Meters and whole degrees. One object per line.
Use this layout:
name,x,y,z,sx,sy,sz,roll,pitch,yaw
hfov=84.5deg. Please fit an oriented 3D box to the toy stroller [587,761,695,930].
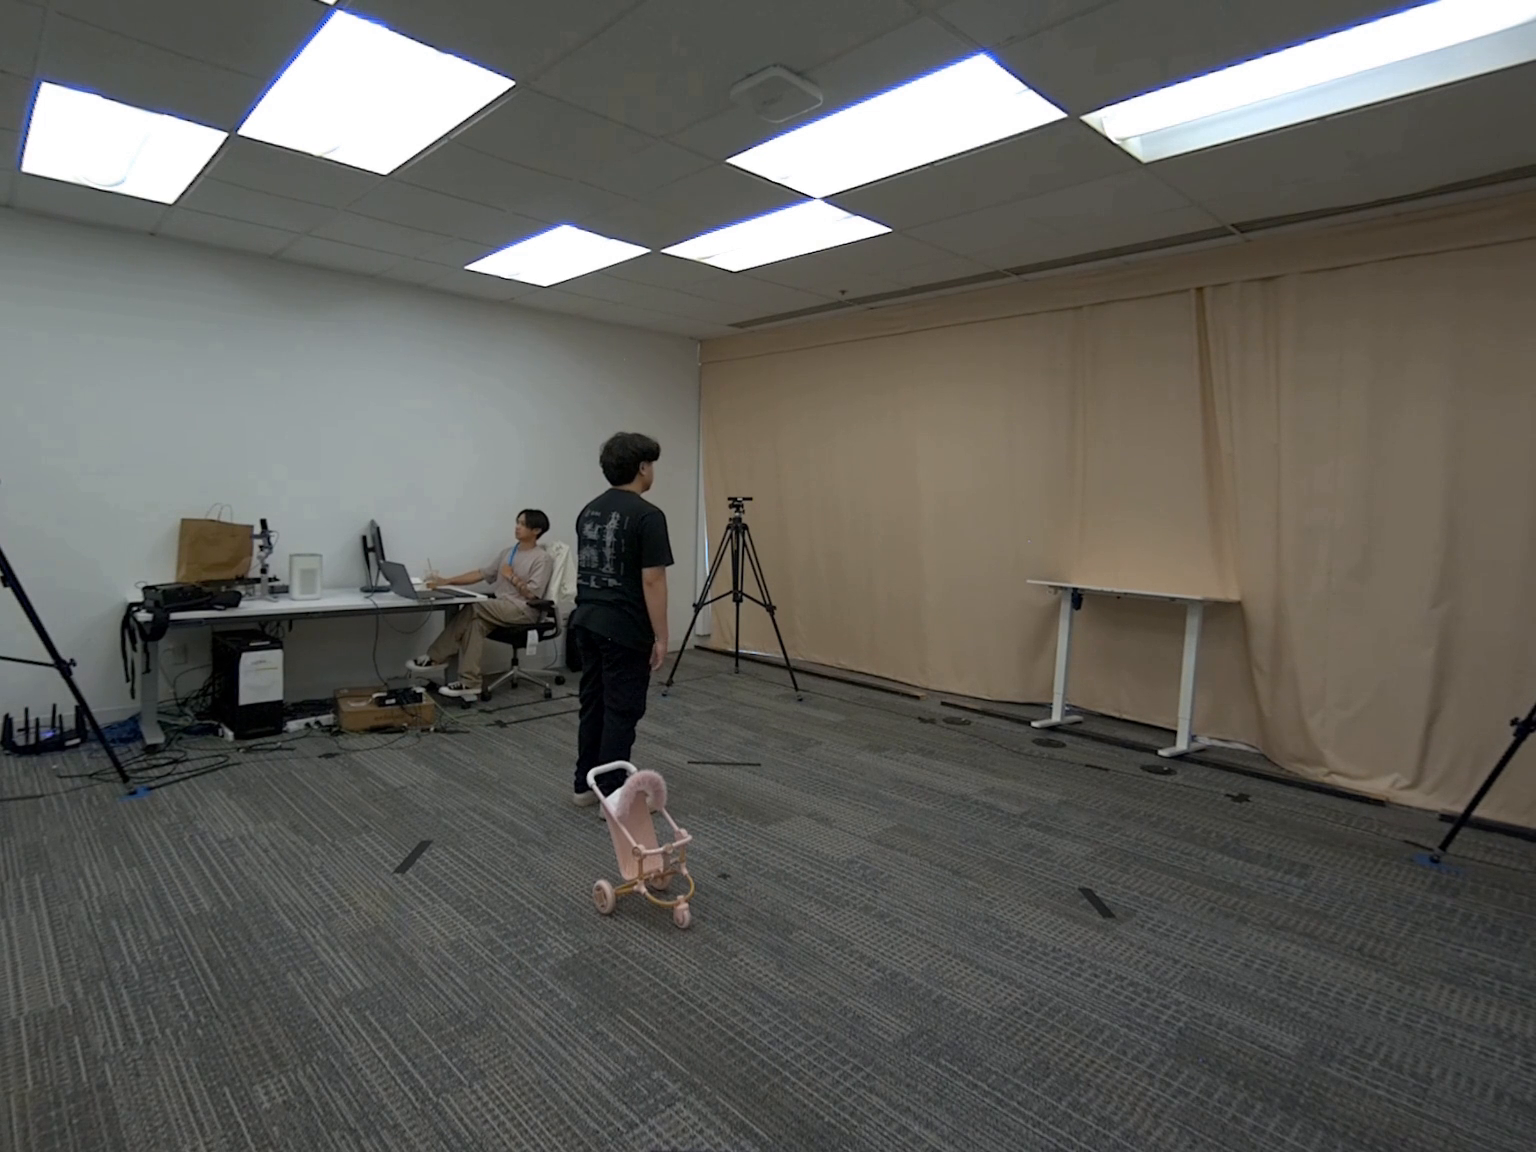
toy stroller,-0.420,0.898,2.842,0.275,0.539,0.347,-2,-11,-44
